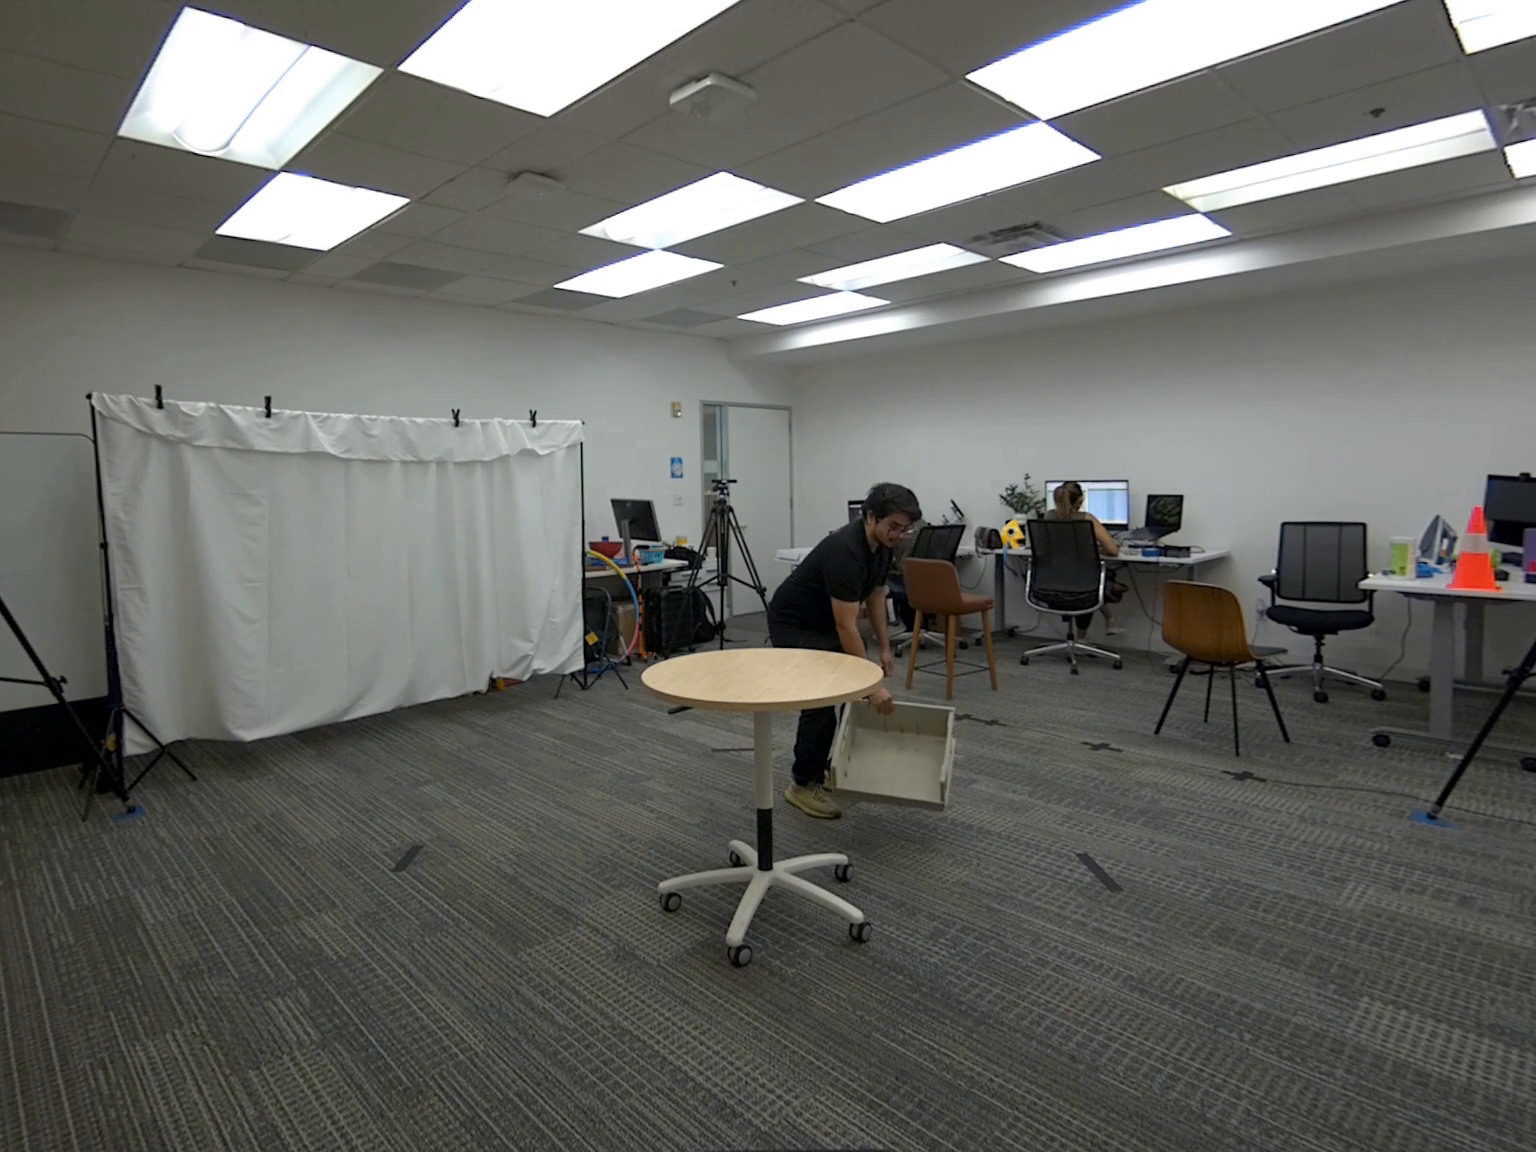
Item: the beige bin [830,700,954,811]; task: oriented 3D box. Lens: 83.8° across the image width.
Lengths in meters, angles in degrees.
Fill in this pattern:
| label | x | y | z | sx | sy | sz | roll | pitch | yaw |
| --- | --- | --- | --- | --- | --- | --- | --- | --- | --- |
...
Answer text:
| label | x | y | z | sx | sy | sz | roll | pitch | yaw |
| --- | --- | --- | --- | --- | --- | --- | --- | --- | --- |
| beige bin | 0.491 | 0.696 | 3.292 | 0.431 | 0.183 | 0.382 | 2 | 40 | 21 |
